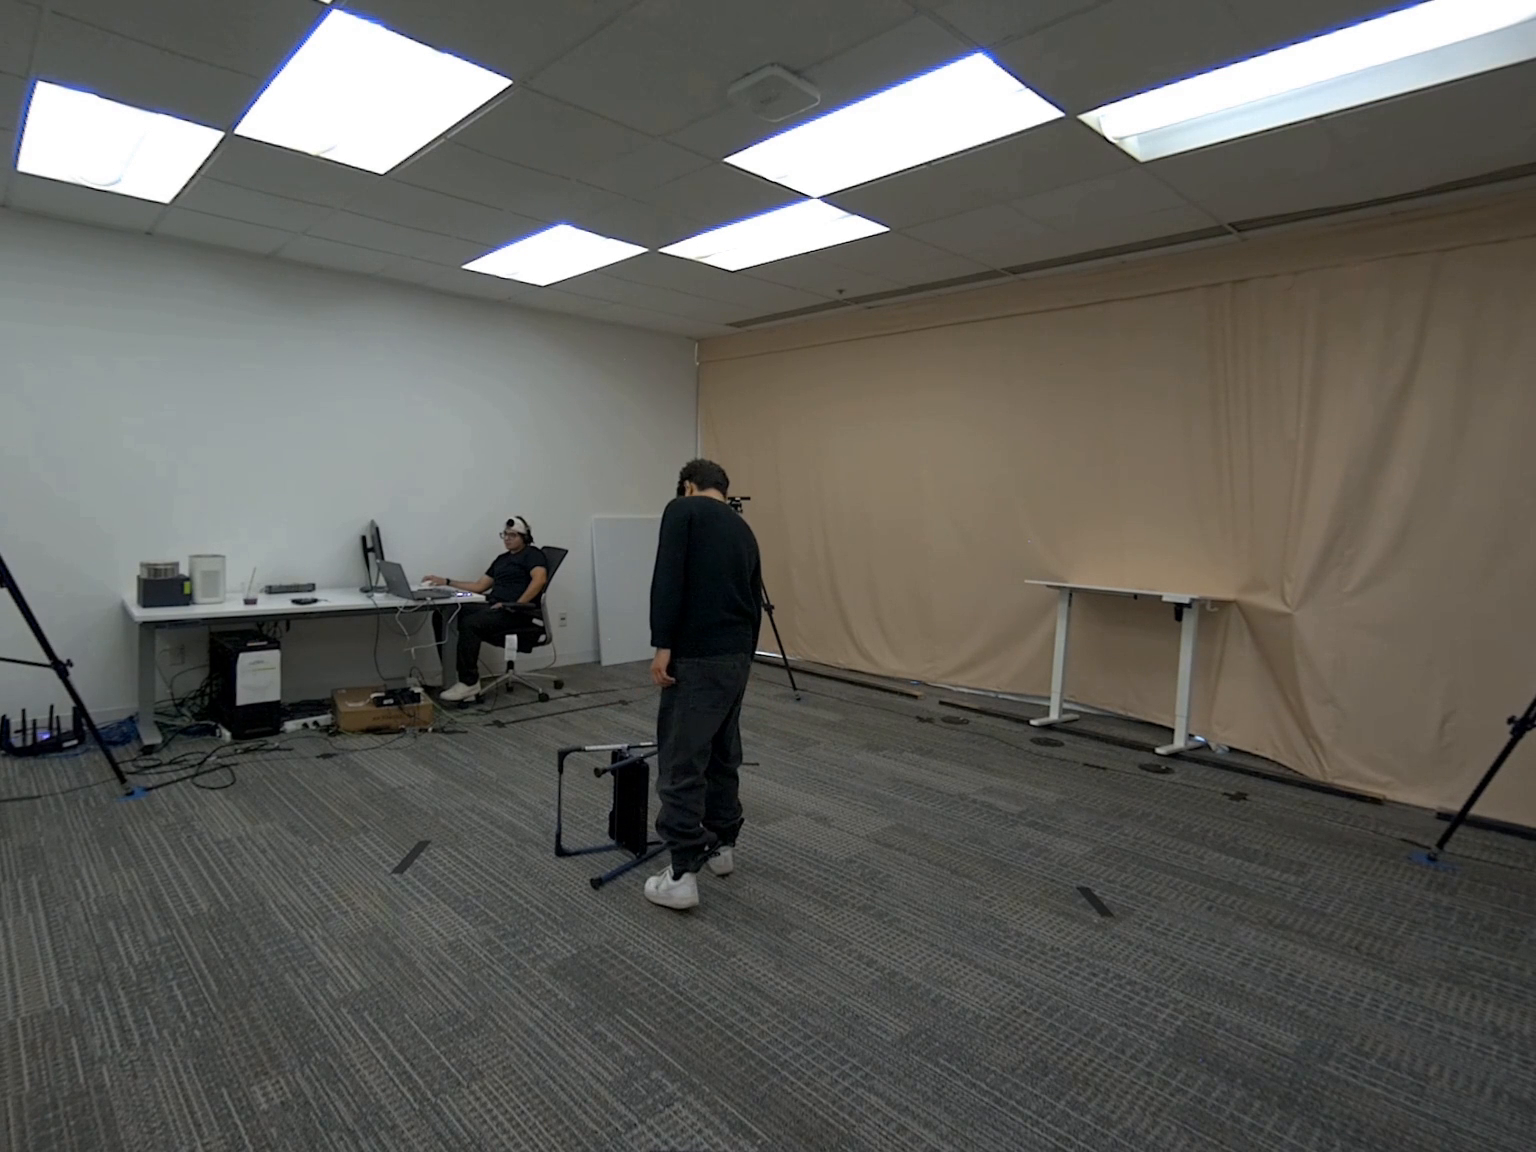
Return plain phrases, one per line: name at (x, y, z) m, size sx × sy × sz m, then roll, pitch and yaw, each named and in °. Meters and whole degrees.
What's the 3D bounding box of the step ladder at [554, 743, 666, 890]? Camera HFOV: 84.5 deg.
step ladder at (-0.486, 0.876, 3.278) m, size 0.592 × 0.430 × 0.358 m, roll 0°, pitch 4°, yaw -39°
